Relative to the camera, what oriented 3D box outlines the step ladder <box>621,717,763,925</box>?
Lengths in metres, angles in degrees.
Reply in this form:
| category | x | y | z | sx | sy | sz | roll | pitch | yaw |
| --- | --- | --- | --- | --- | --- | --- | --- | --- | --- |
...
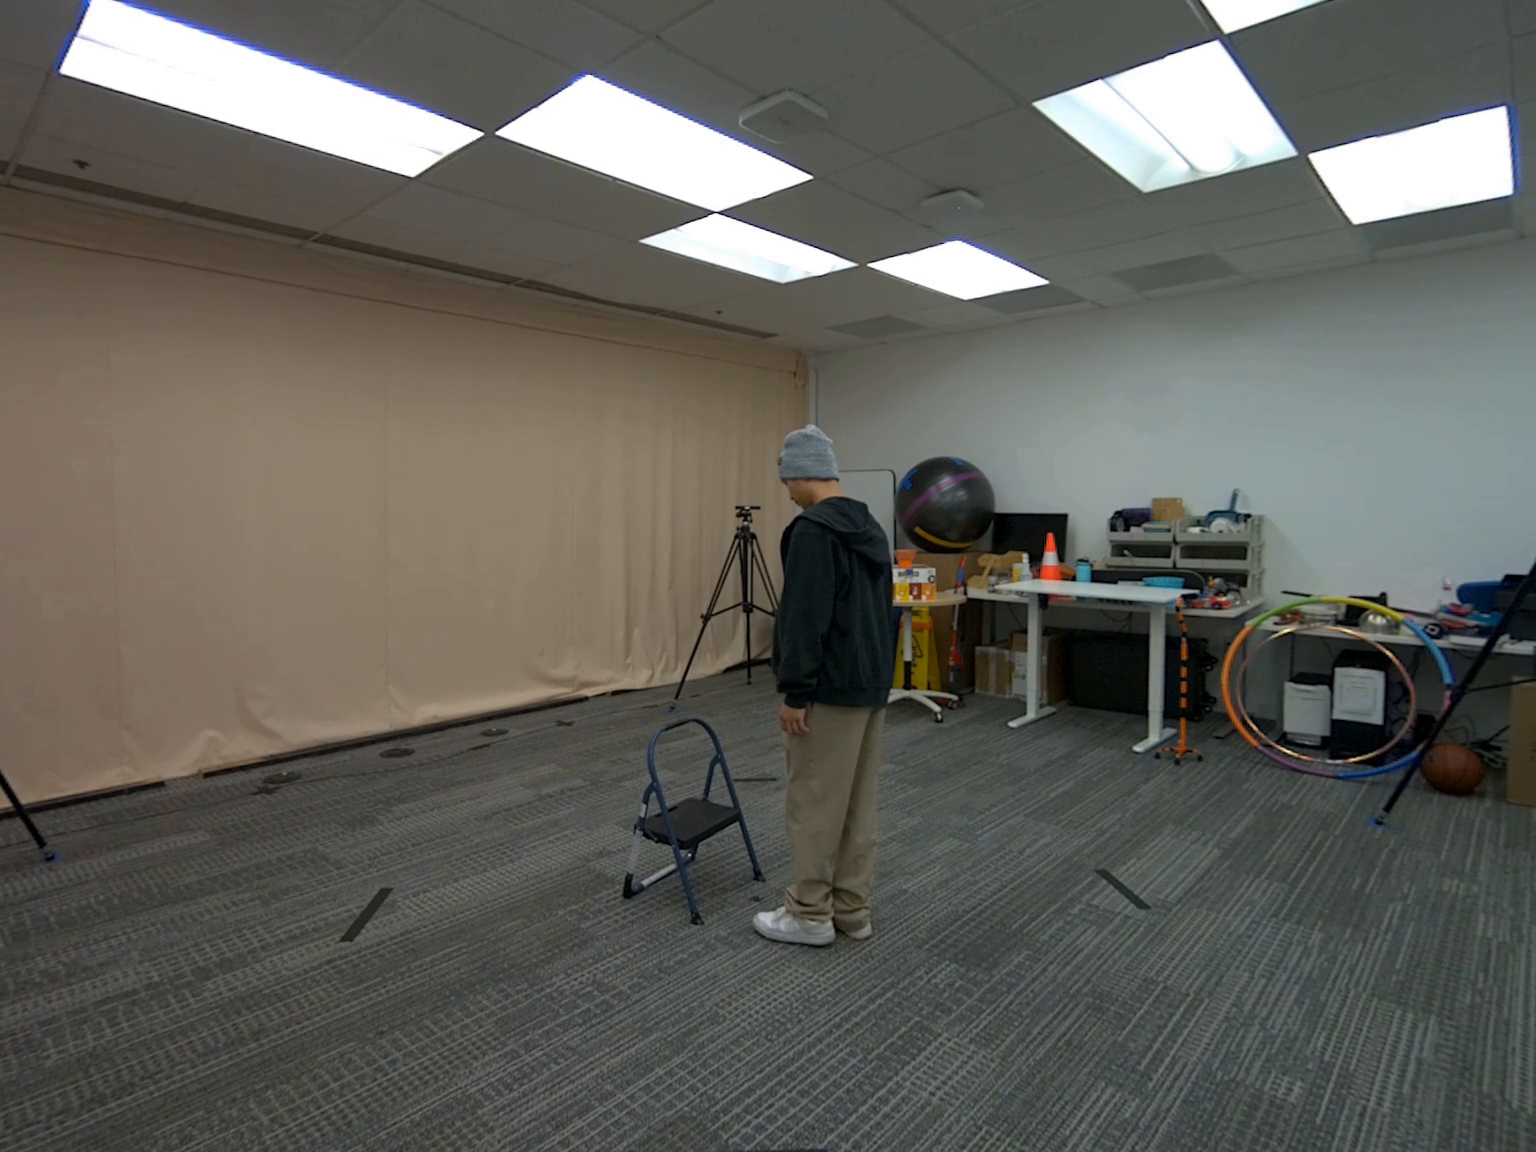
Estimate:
| category | x | y | z | sx | sy | sz | roll | pitch | yaw |
| --- | --- | --- | --- | --- | --- | --- | --- | --- | --- |
| step ladder | -0.268 | 0.837 | 3.053 | 0.360 | 0.605 | 0.418 | 2 | 4 | 32 |
